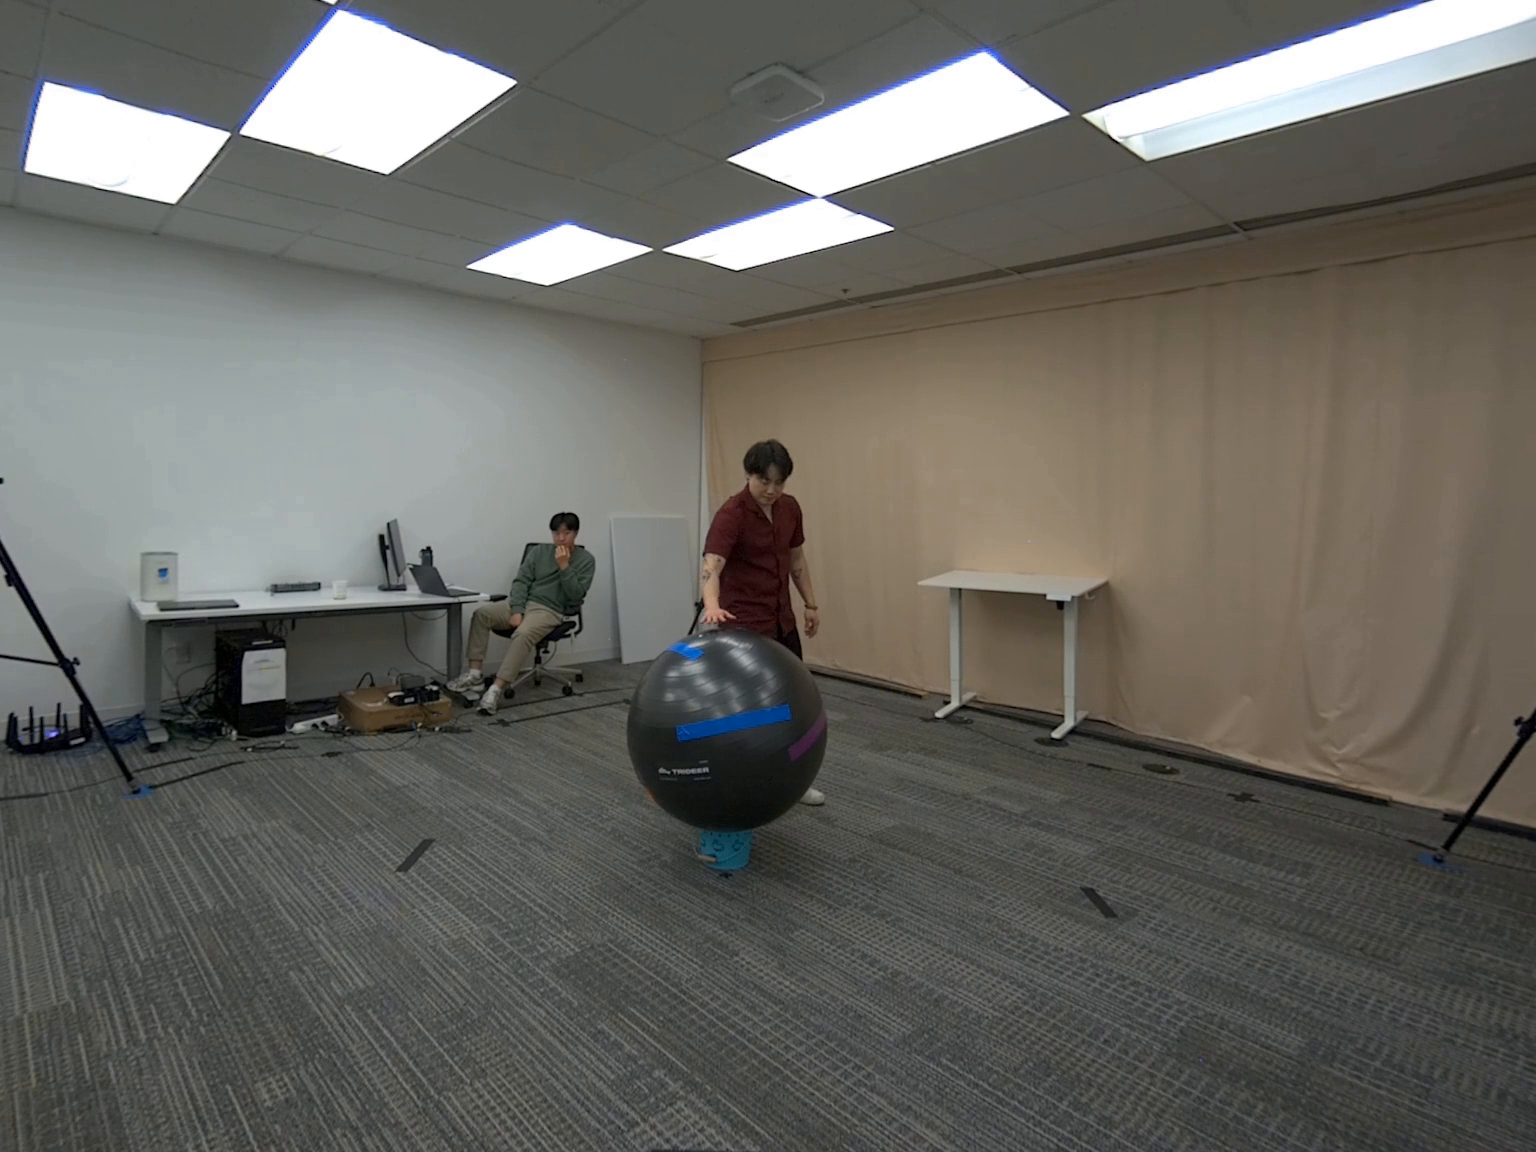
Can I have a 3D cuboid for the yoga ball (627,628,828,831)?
[{"bbox_3d":[-0.164,0.585,3.202,0.757,0.756,0.761,1,4,-1],"label":"yoga ball"}]
